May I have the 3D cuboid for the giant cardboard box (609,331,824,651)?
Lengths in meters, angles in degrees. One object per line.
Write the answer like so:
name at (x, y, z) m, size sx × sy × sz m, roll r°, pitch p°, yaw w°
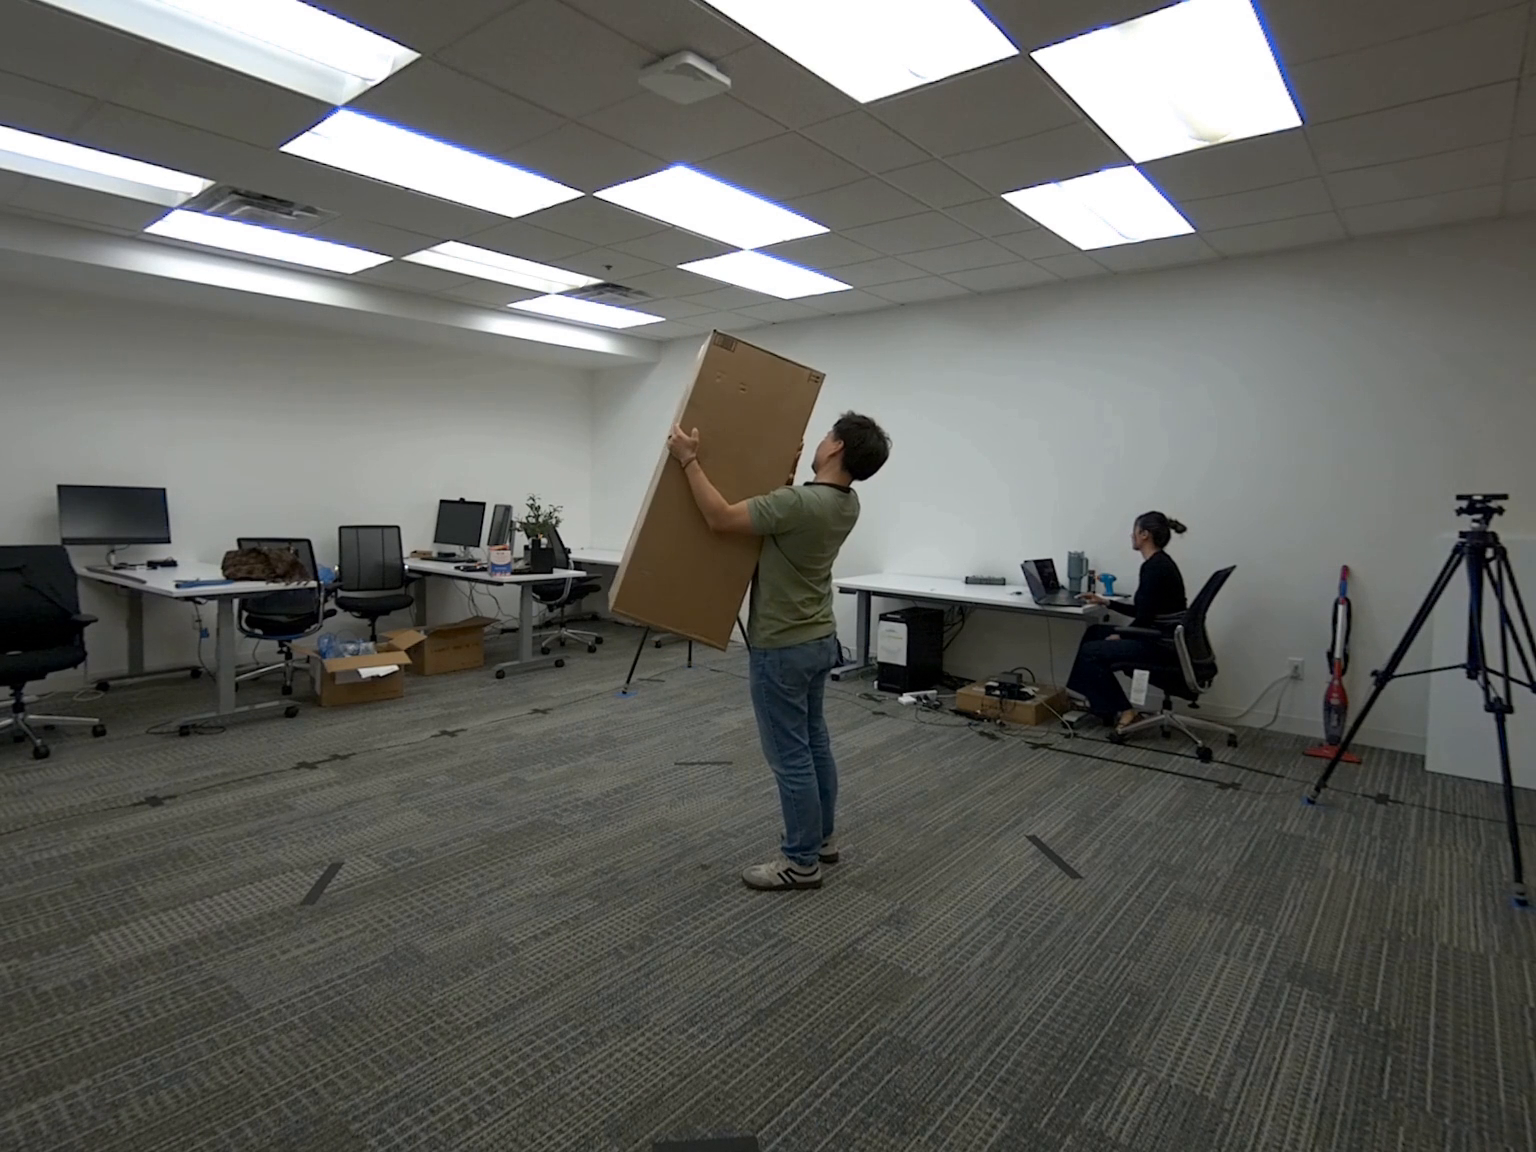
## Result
giant cardboard box at (-0.231, -0.314, 3.181) m, size 0.421 × 1.026 × 0.584 m, roll 20°, pitch 0°, yaw -10°
